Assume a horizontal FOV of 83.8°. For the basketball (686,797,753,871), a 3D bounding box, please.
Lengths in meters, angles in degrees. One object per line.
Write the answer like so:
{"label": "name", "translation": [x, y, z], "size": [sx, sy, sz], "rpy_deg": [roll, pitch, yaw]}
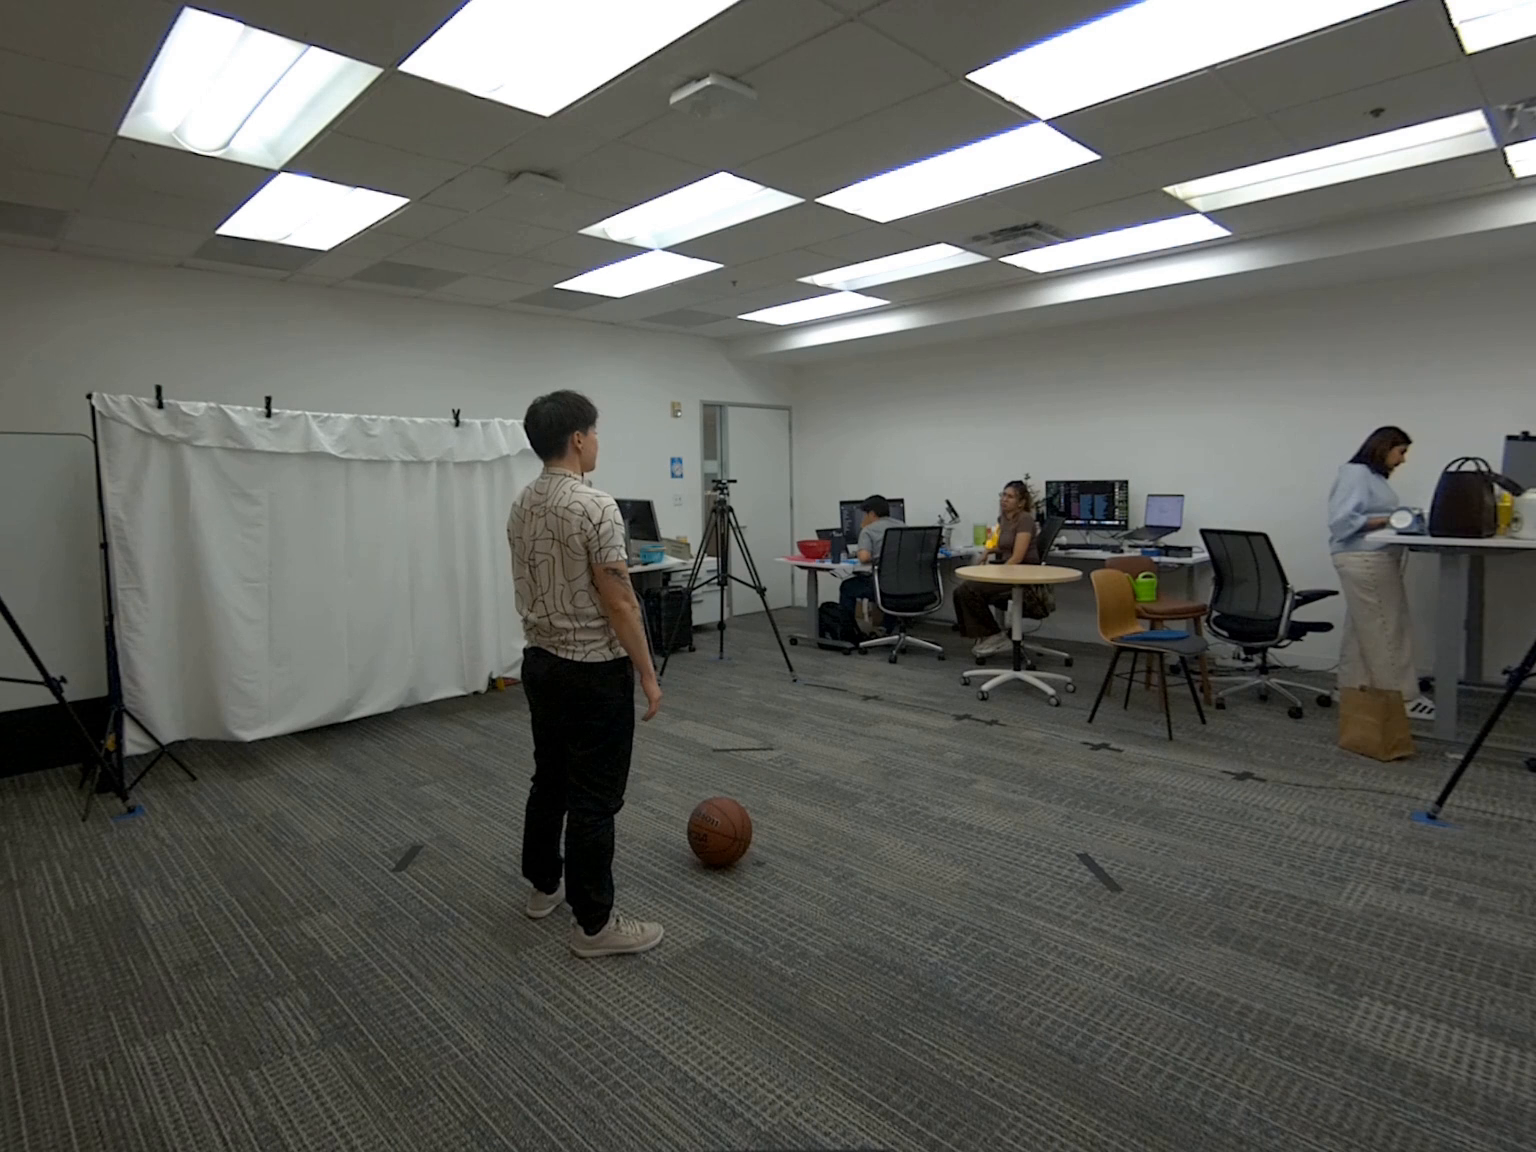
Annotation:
{"label": "basketball", "translation": [-0.172, 0.926, 3.111], "size": [0.236, 0.235, 0.237], "rpy_deg": [-1, 5, -2]}
